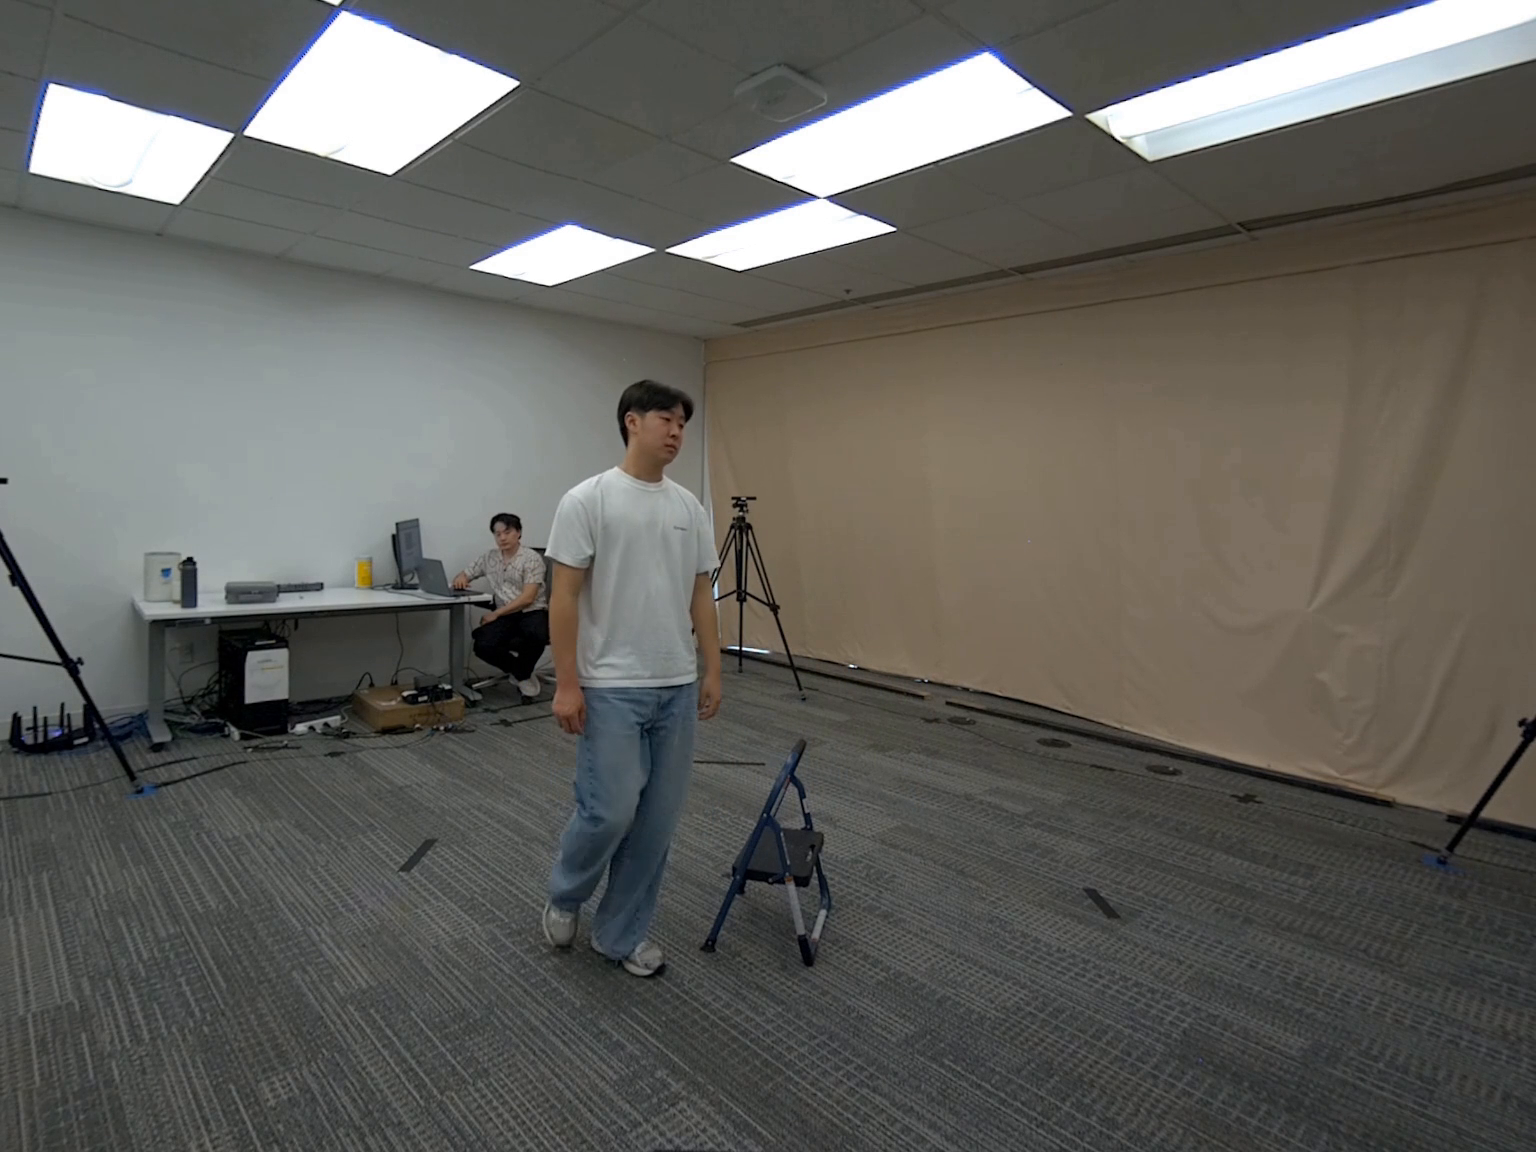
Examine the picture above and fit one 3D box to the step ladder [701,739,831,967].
[{"bbox_3d":[0.012,0.841,2.726,0.353,0.604,0.427,2,4,12],"label":"step ladder"}]
